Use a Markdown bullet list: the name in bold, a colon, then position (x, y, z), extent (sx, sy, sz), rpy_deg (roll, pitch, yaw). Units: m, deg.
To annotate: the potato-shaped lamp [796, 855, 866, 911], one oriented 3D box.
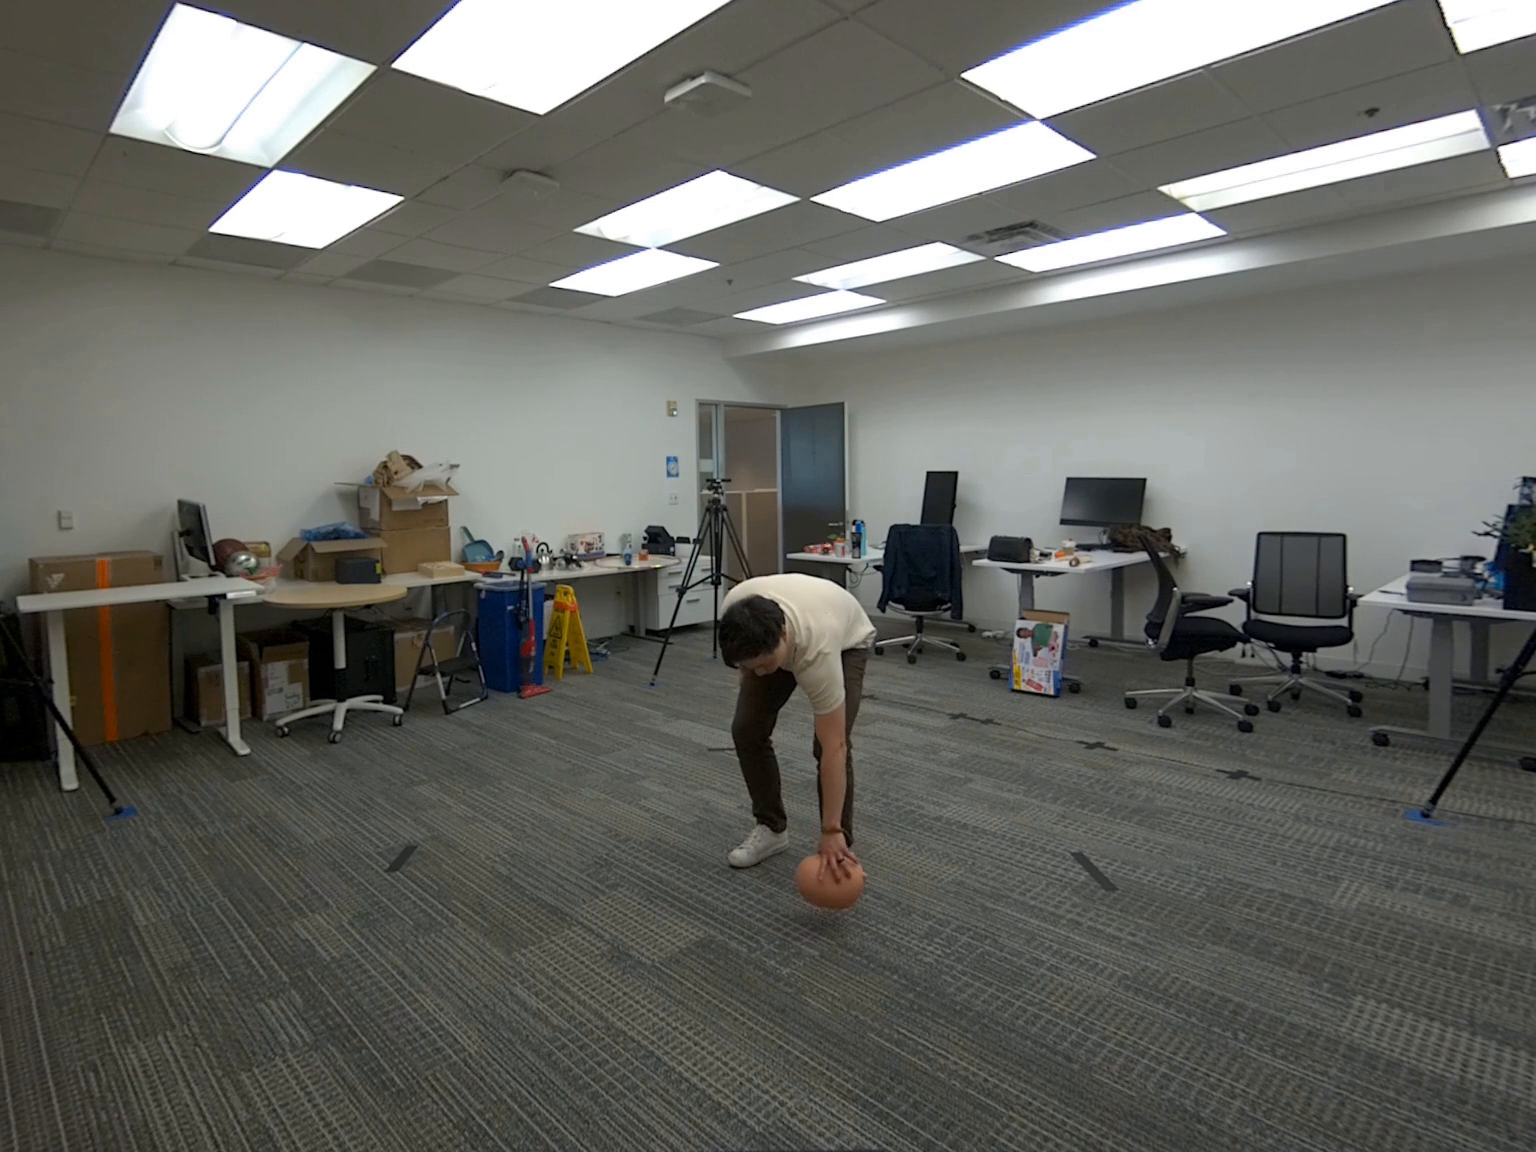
- **potato-shaped lamp**: position (0.188, 0.933, 2.653), extent (0.193, 0.170, 0.169), rpy_deg (21, 12, -22)
